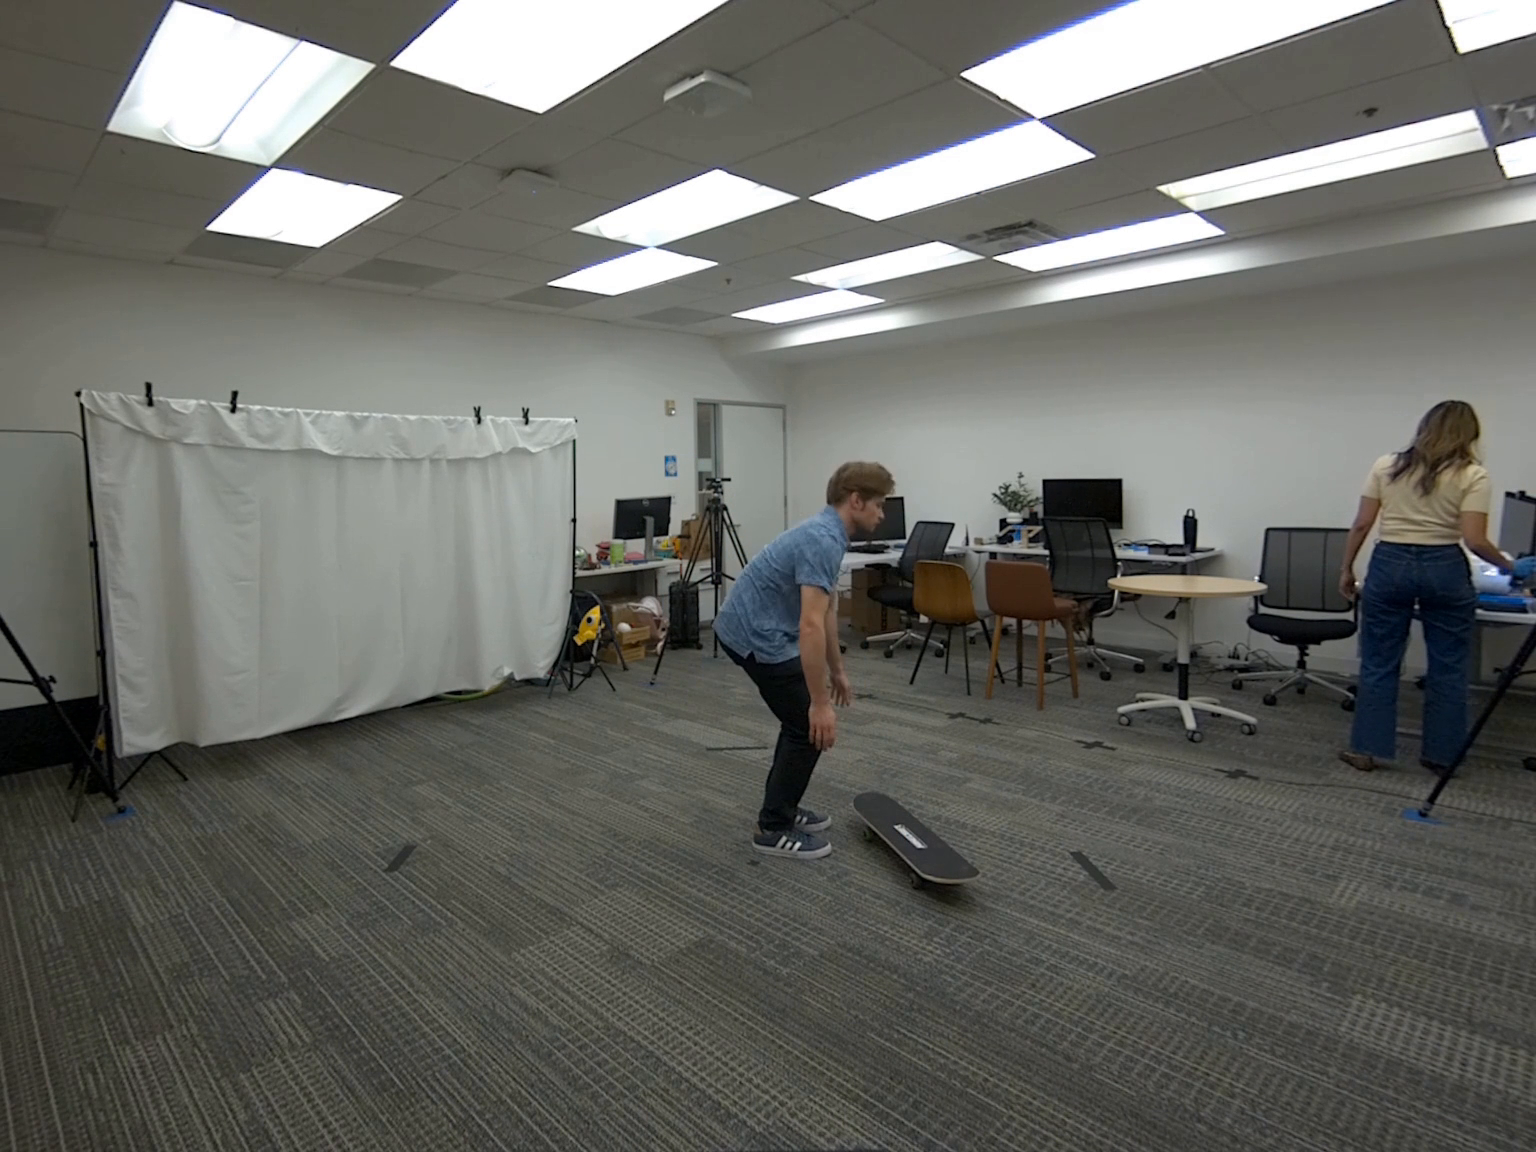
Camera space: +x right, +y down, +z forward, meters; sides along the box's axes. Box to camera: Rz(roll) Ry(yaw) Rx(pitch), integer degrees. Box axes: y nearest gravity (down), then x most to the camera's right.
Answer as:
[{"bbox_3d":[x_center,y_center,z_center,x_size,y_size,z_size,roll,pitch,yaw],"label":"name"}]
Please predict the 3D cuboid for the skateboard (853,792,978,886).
[{"bbox_3d":[0.526,0.982,3.102,0.191,0.110,0.799,-3,6,-15],"label":"skateboard"}]
